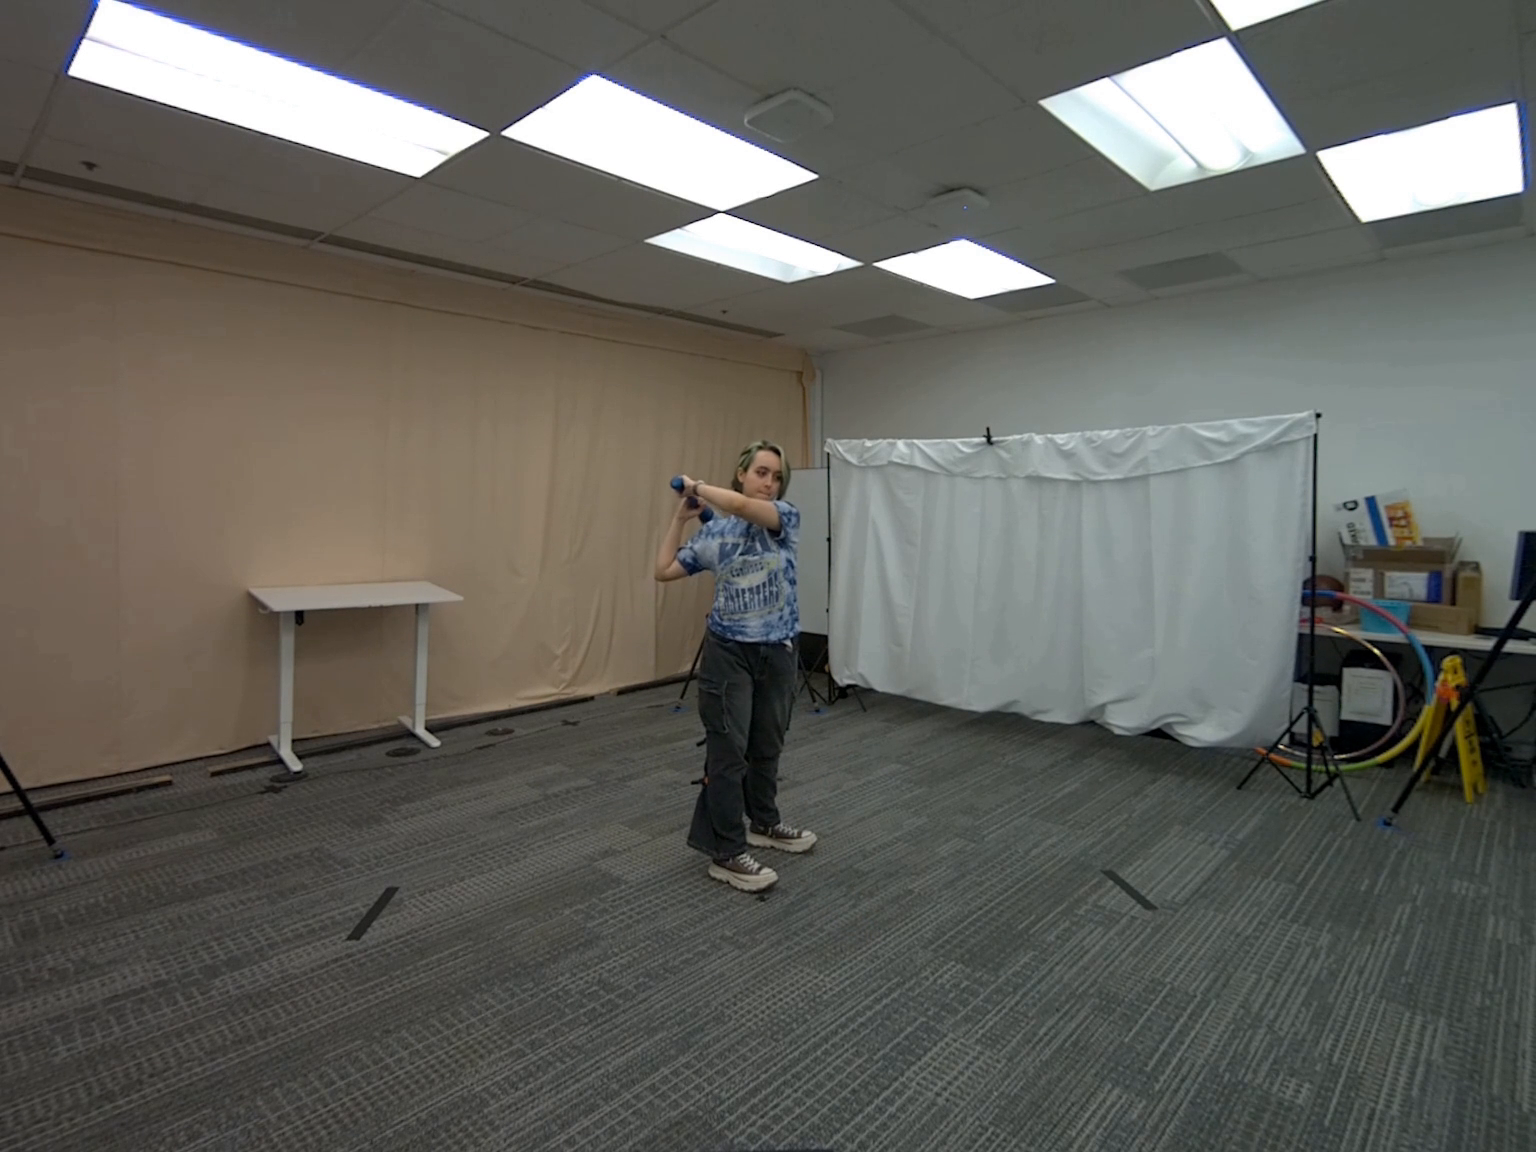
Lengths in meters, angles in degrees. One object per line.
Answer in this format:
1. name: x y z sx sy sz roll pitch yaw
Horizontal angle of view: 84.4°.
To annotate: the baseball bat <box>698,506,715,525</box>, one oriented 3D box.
1. baseball bat: -0.258 -0.253 3.328 0.091 0.090 0.526 2 -22 22
